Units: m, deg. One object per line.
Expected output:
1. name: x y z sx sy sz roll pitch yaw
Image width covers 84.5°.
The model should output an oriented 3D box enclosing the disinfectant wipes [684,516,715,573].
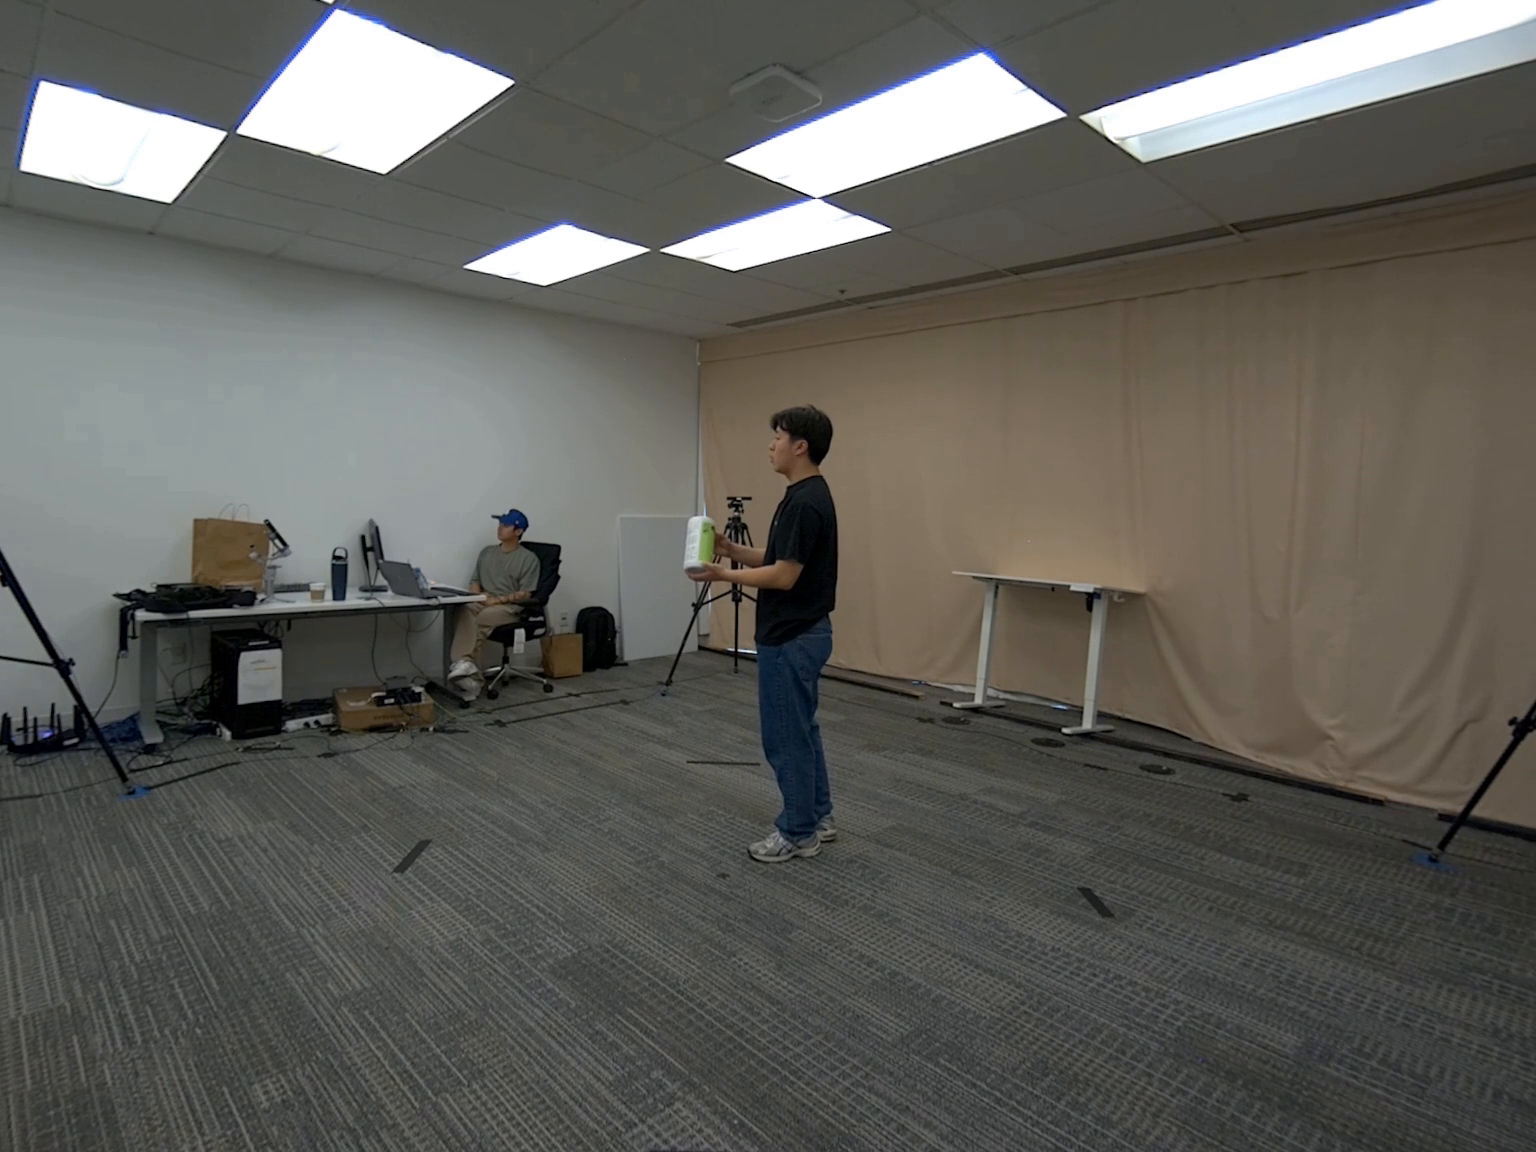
1. disinfectant wipes: -0.276 -0.119 3.273 0.118 0.220 0.116 4 -21 0
